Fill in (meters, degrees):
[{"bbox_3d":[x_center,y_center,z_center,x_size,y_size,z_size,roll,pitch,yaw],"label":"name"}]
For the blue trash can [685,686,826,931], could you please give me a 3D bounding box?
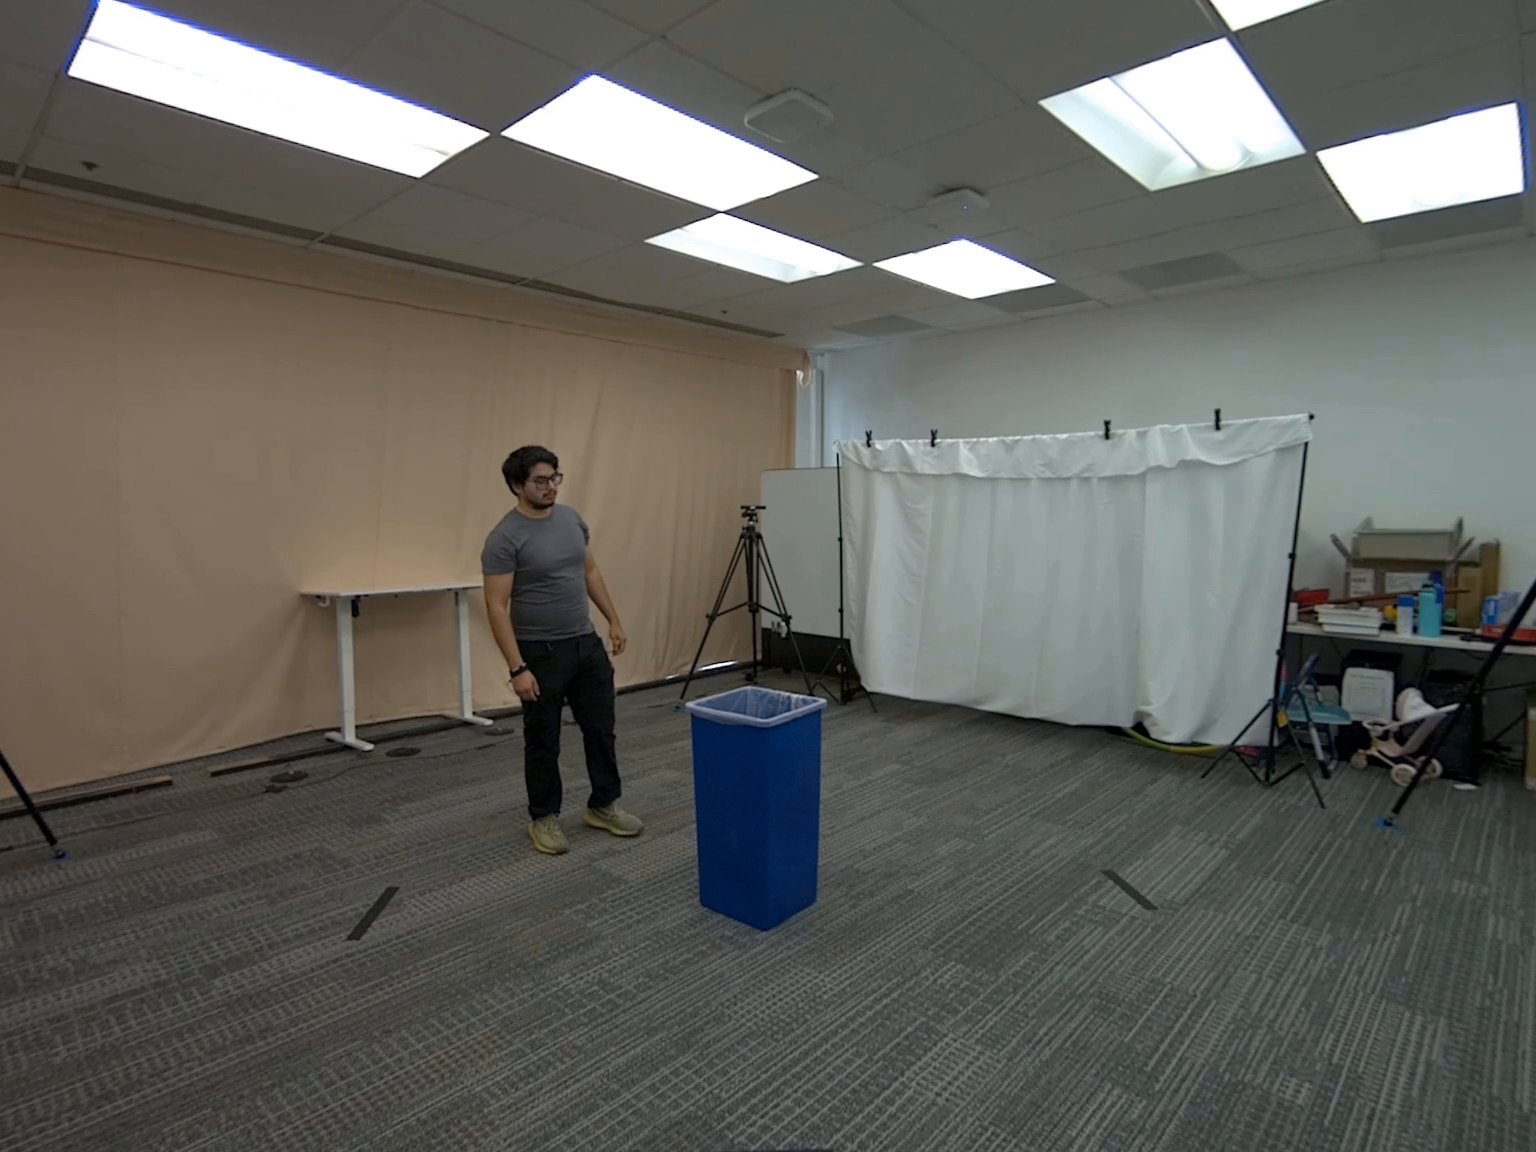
[{"bbox_3d":[-0.034,0.790,2.929,0.390,0.712,0.363,2,4,39],"label":"blue trash can"}]
